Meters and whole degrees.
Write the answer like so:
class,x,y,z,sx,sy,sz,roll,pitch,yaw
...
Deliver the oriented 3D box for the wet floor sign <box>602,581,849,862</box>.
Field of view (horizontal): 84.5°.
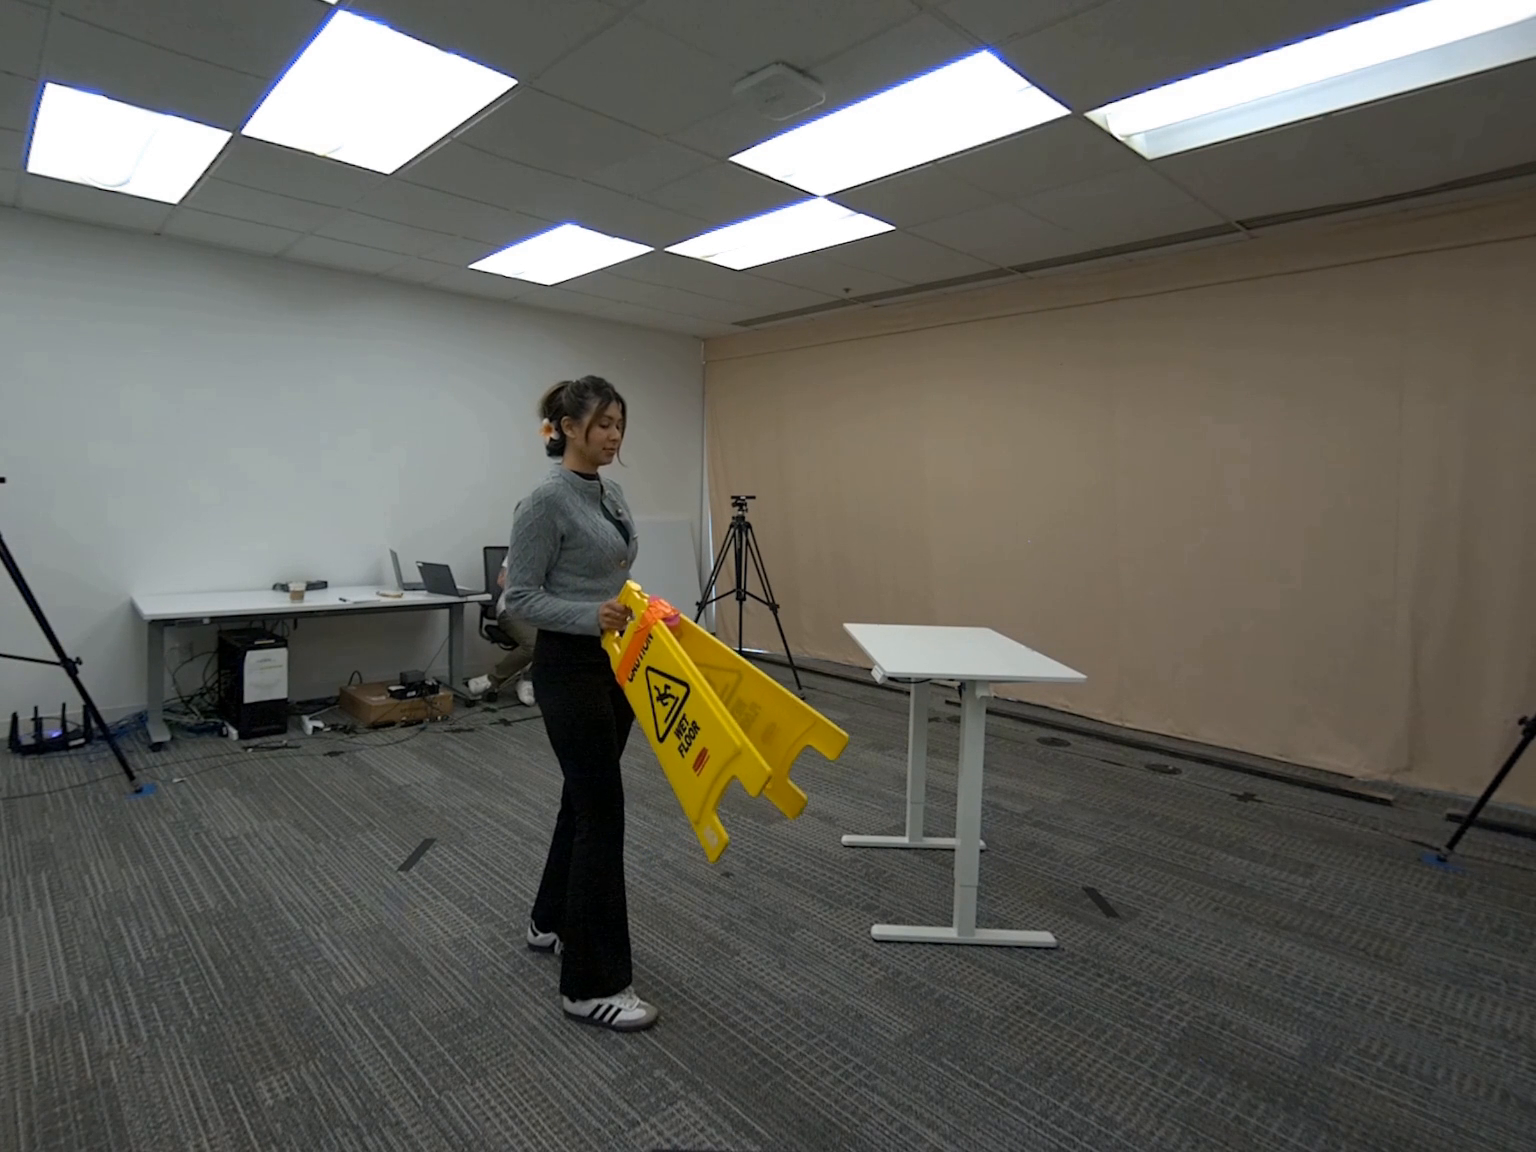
class,x,y,z,sx,sy,sz,roll,pitch,yaw
wet floor sign,-0.180,0.287,1.958,0.284,0.280,0.664,-7,43,-50
